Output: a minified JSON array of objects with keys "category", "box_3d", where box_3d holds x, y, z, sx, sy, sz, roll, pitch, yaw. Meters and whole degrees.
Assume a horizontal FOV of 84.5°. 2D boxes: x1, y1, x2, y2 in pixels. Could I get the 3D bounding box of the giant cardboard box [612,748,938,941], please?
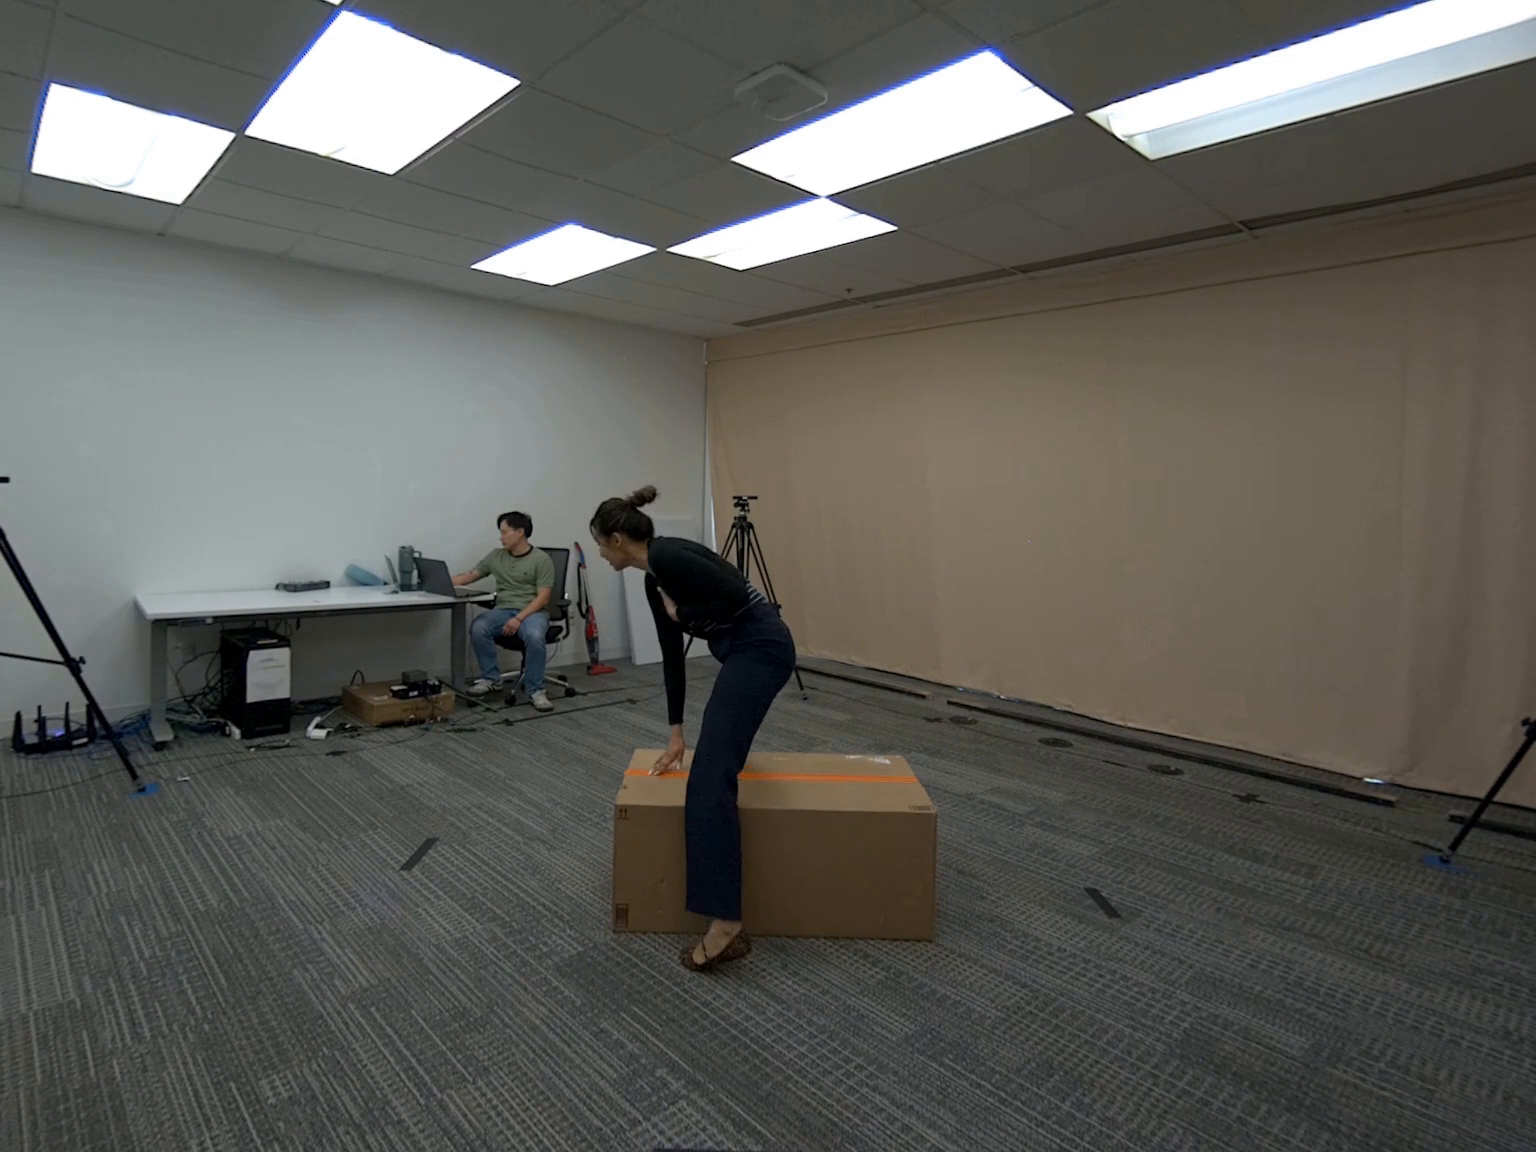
[{"category":"giant cardboard box","box_3d":[0.006,0.906,2.936,1.026,0.425,0.579,1,4,0]}]
